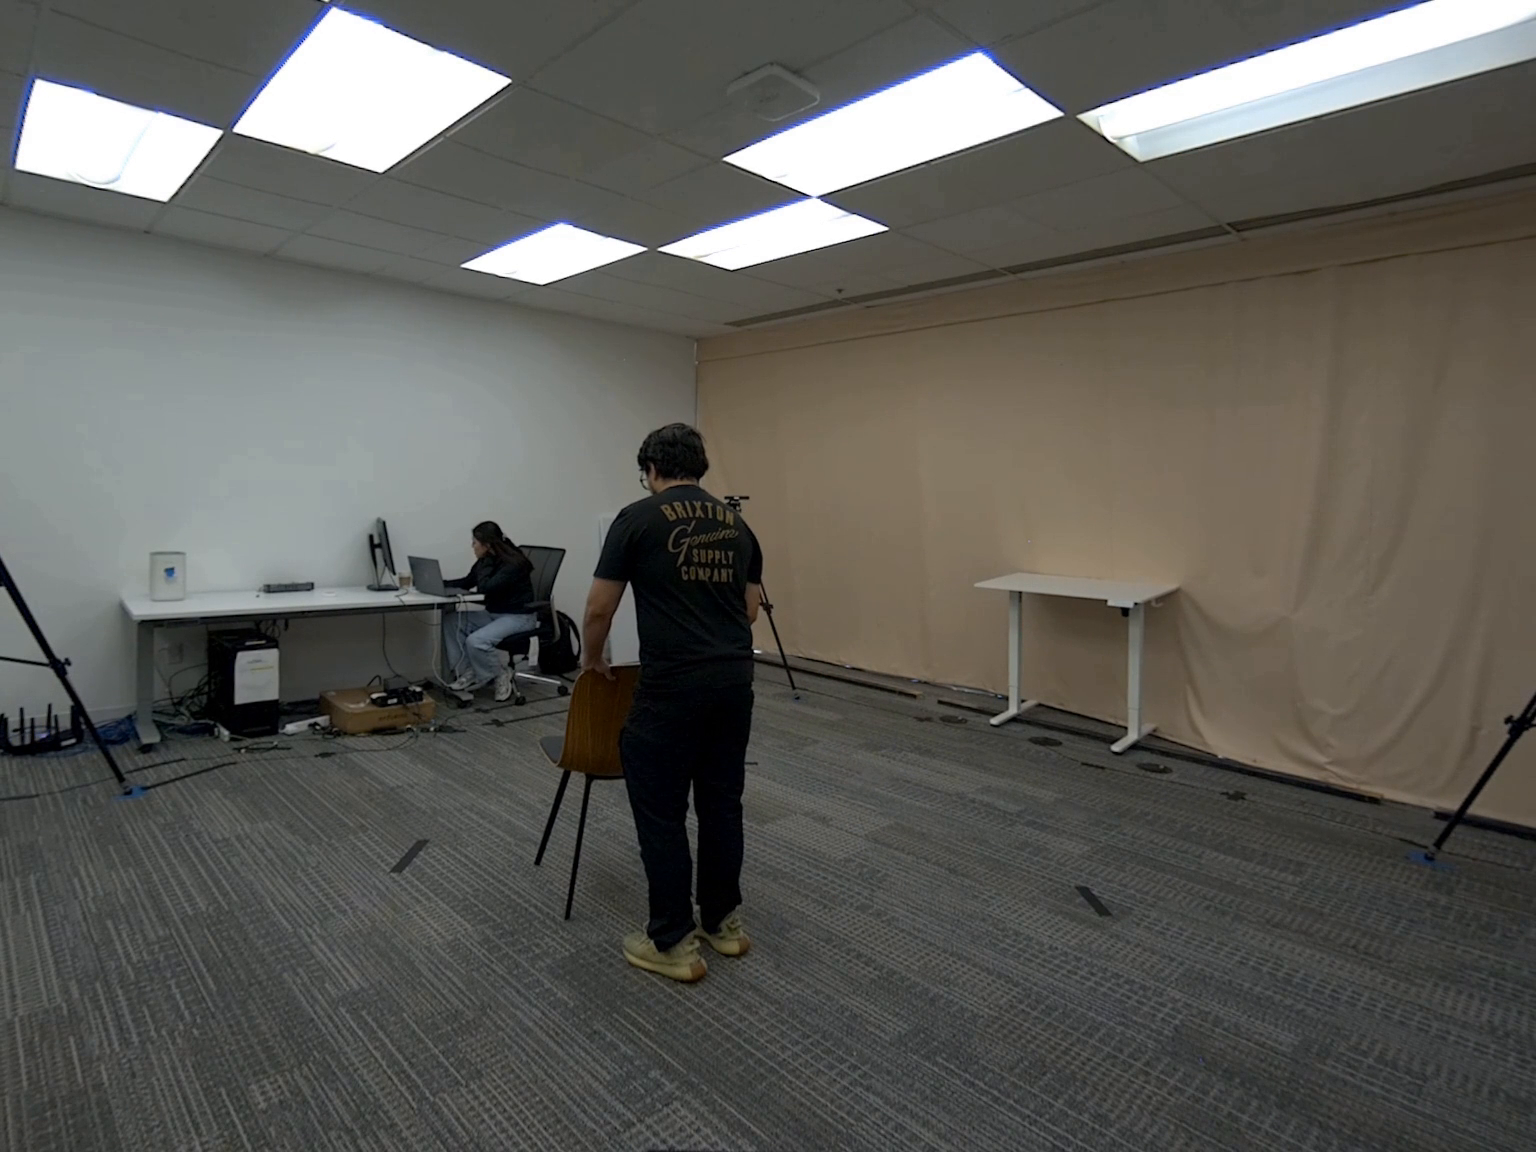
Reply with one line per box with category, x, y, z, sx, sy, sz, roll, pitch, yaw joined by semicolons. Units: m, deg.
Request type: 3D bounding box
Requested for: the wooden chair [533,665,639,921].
wooden chair;-0.565;0.676;3.019;0.469;0.873;0.536;-1;9;-27
